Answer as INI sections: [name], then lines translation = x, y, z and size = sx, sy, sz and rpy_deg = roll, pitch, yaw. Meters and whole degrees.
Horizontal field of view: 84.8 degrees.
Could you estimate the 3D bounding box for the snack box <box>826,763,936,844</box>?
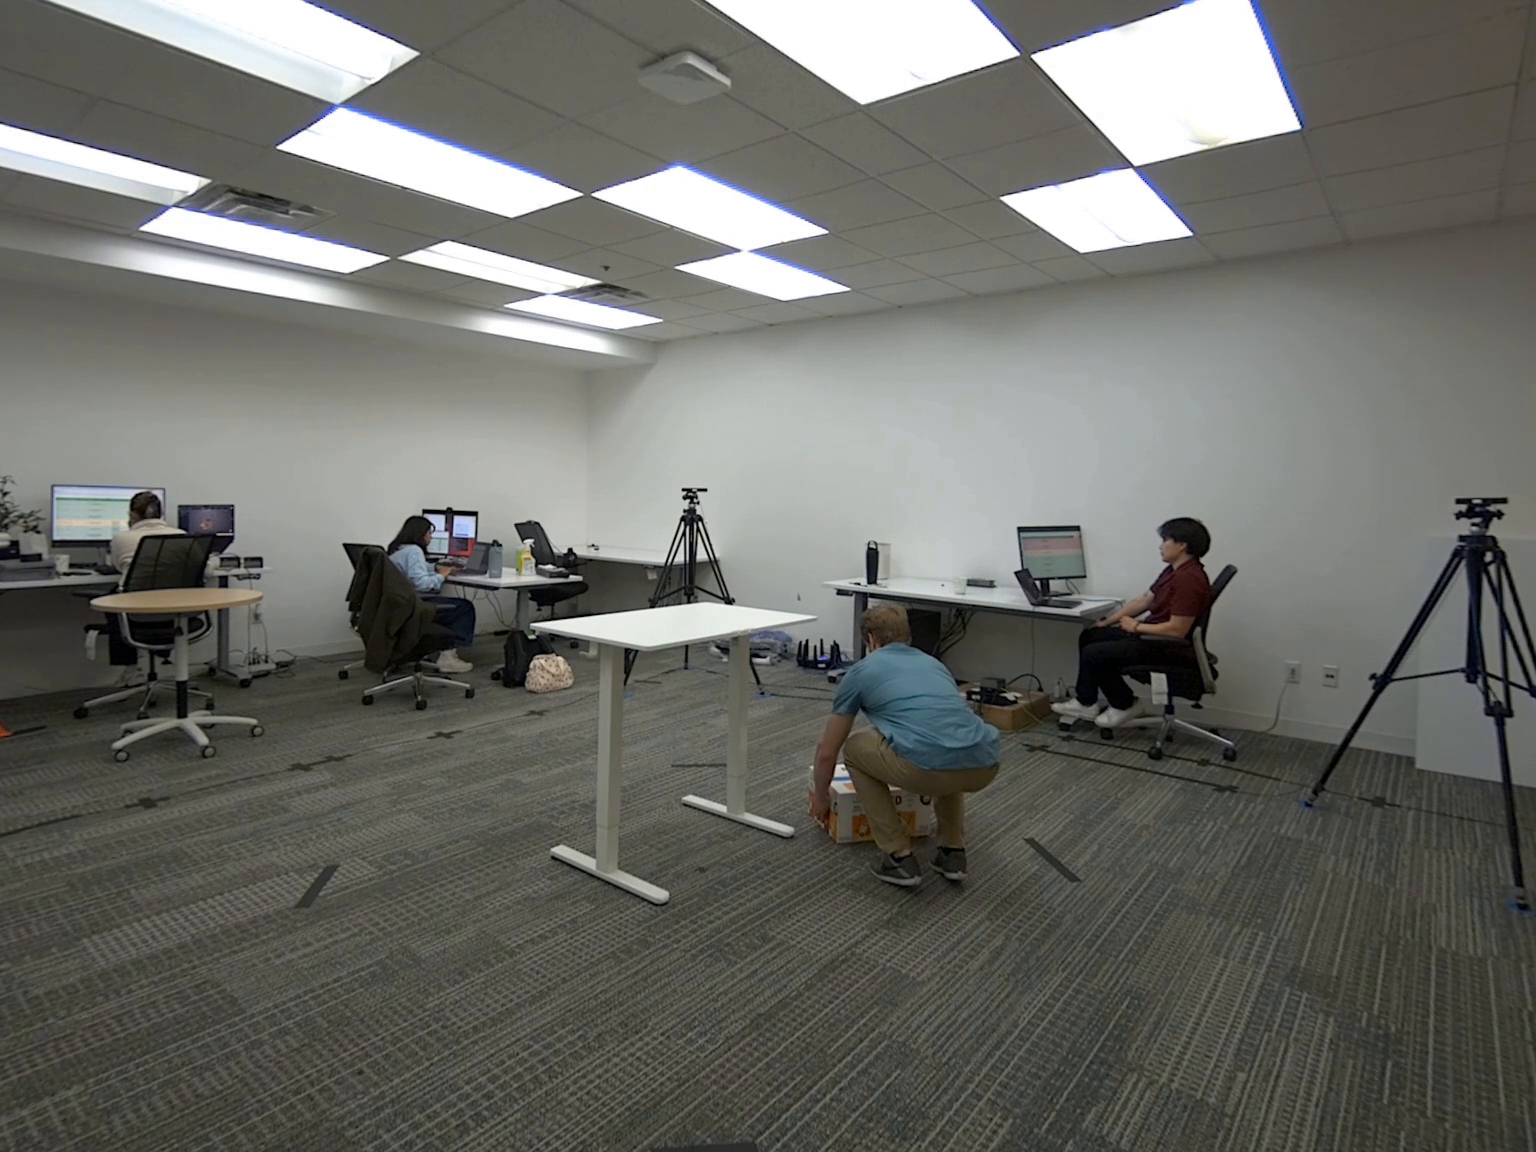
[snack box]
translation = 0.413, 0.939, 3.562
size = 0.399, 0.205, 0.347
rpy_deg = 0, 4, -15
